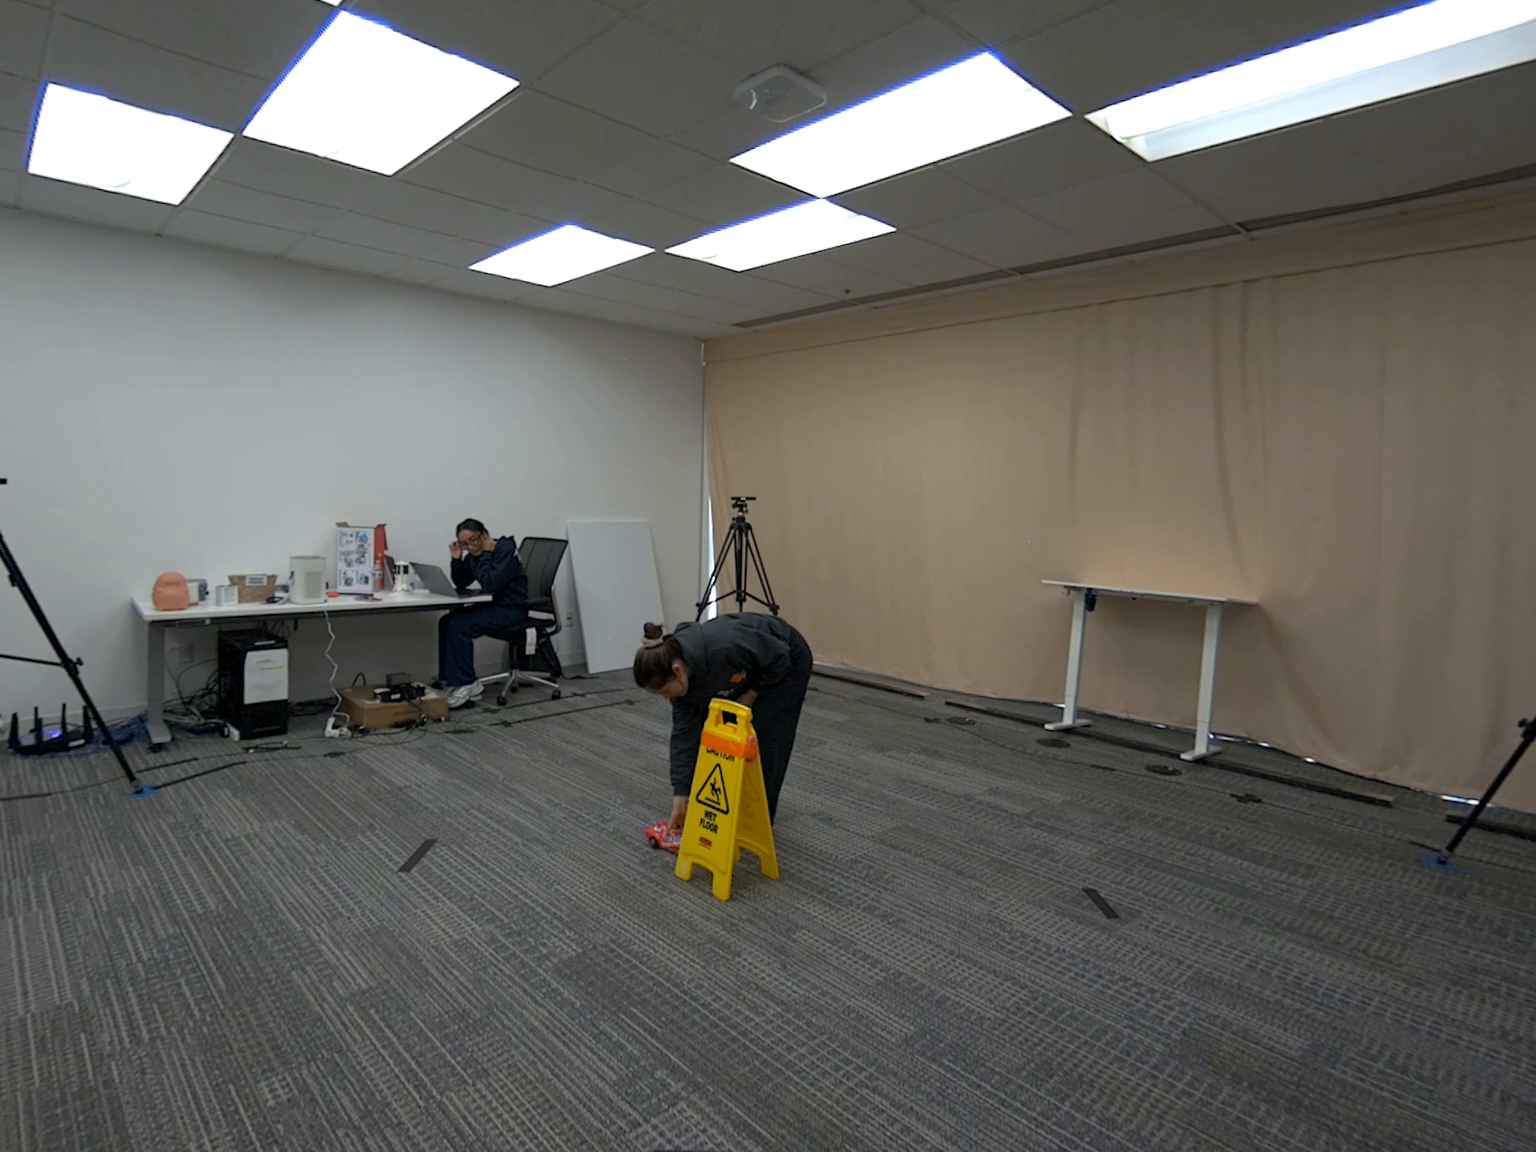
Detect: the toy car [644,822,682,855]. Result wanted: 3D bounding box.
[{"bbox_3d":[-0.393,1.049,3.350,0.262,0.083,0.127,20,15,38],"label":"toy car"}]
